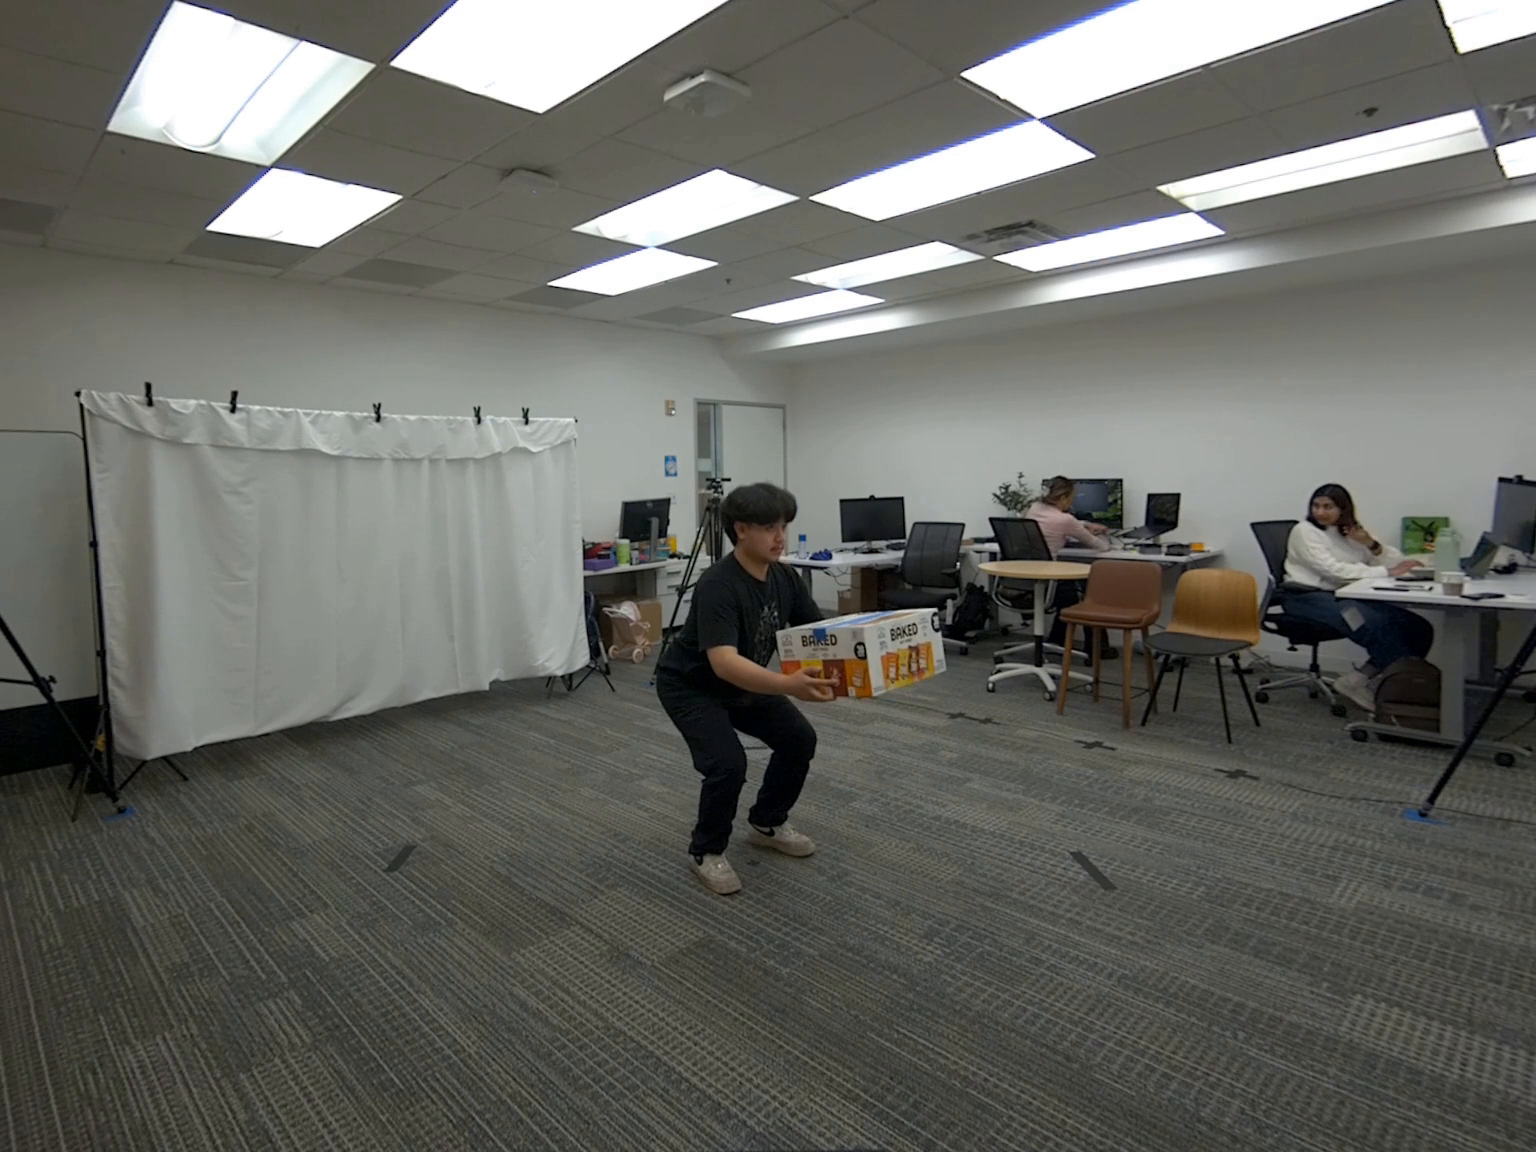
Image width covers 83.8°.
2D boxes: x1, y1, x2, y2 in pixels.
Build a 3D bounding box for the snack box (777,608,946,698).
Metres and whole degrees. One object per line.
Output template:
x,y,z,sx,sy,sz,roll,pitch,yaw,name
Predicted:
0.292,0.238,2.684,0.349,0.206,0.395,-7,1,43,snack box
